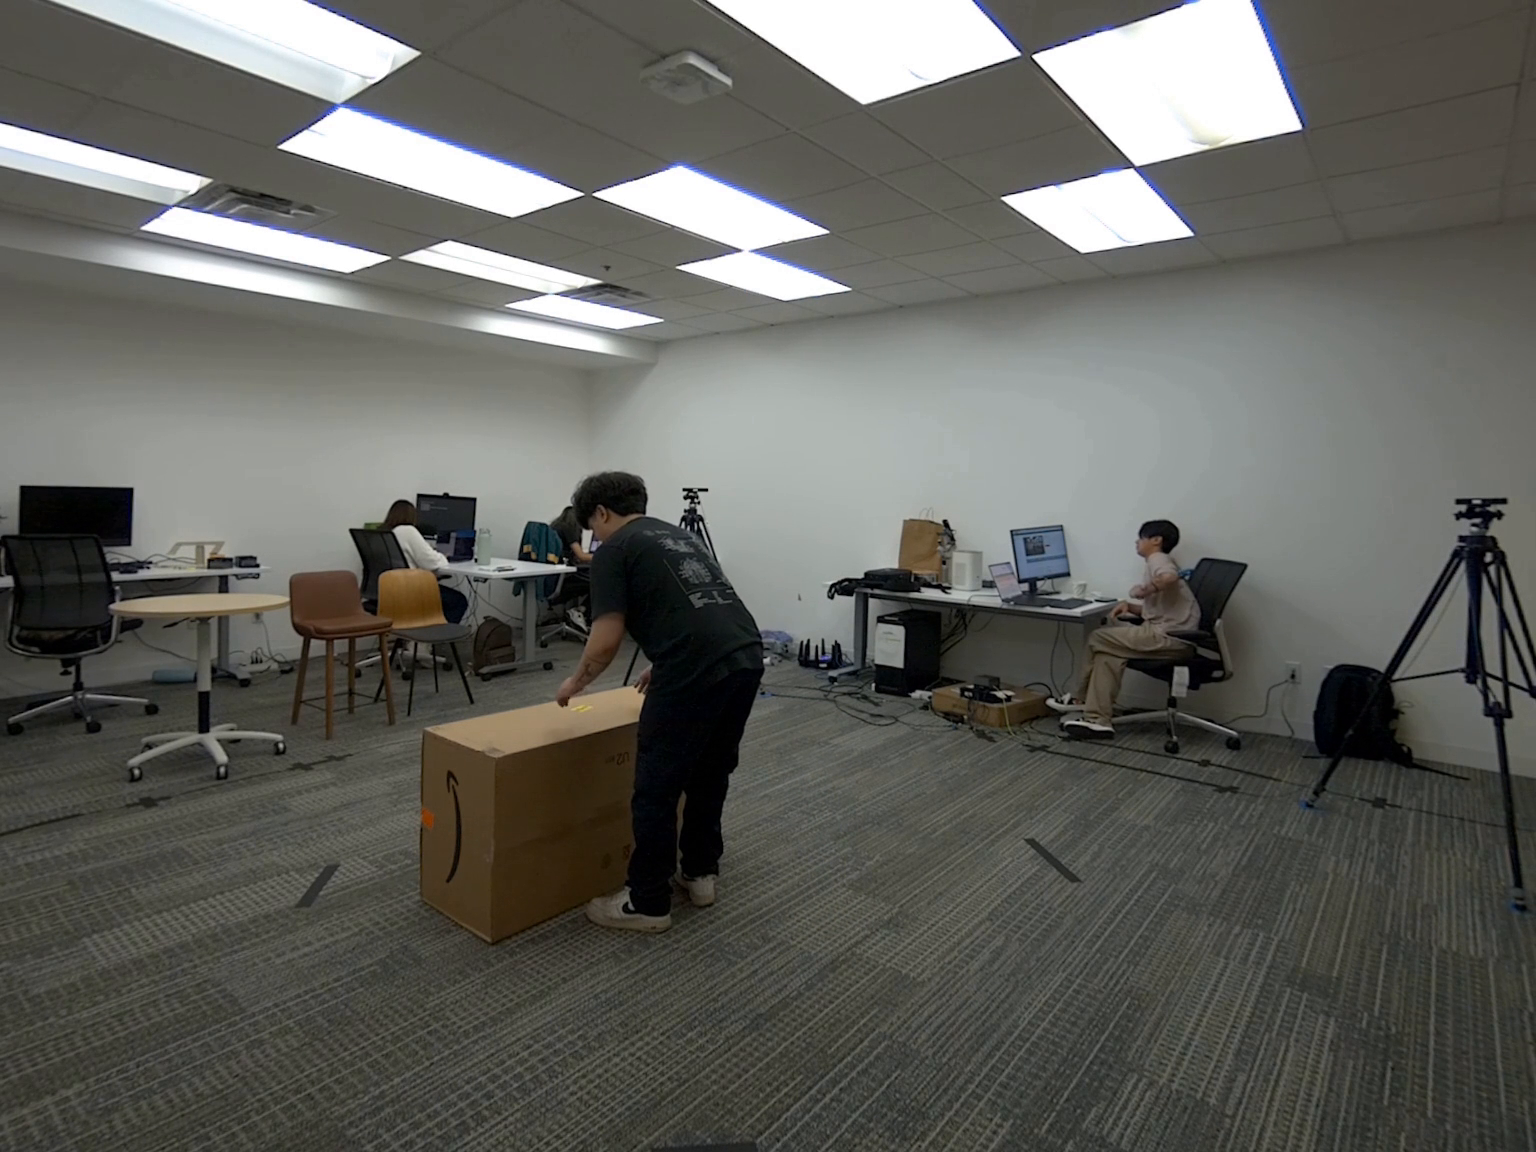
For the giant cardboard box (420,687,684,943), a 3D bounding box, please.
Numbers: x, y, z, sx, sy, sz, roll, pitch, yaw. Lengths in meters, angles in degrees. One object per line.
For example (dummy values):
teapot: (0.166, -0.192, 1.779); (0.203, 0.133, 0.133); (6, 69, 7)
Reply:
giant cardboard box: (-0.690, 0.781, 3.071); (0.461, 0.582, 0.996); (3, 4, 39)
